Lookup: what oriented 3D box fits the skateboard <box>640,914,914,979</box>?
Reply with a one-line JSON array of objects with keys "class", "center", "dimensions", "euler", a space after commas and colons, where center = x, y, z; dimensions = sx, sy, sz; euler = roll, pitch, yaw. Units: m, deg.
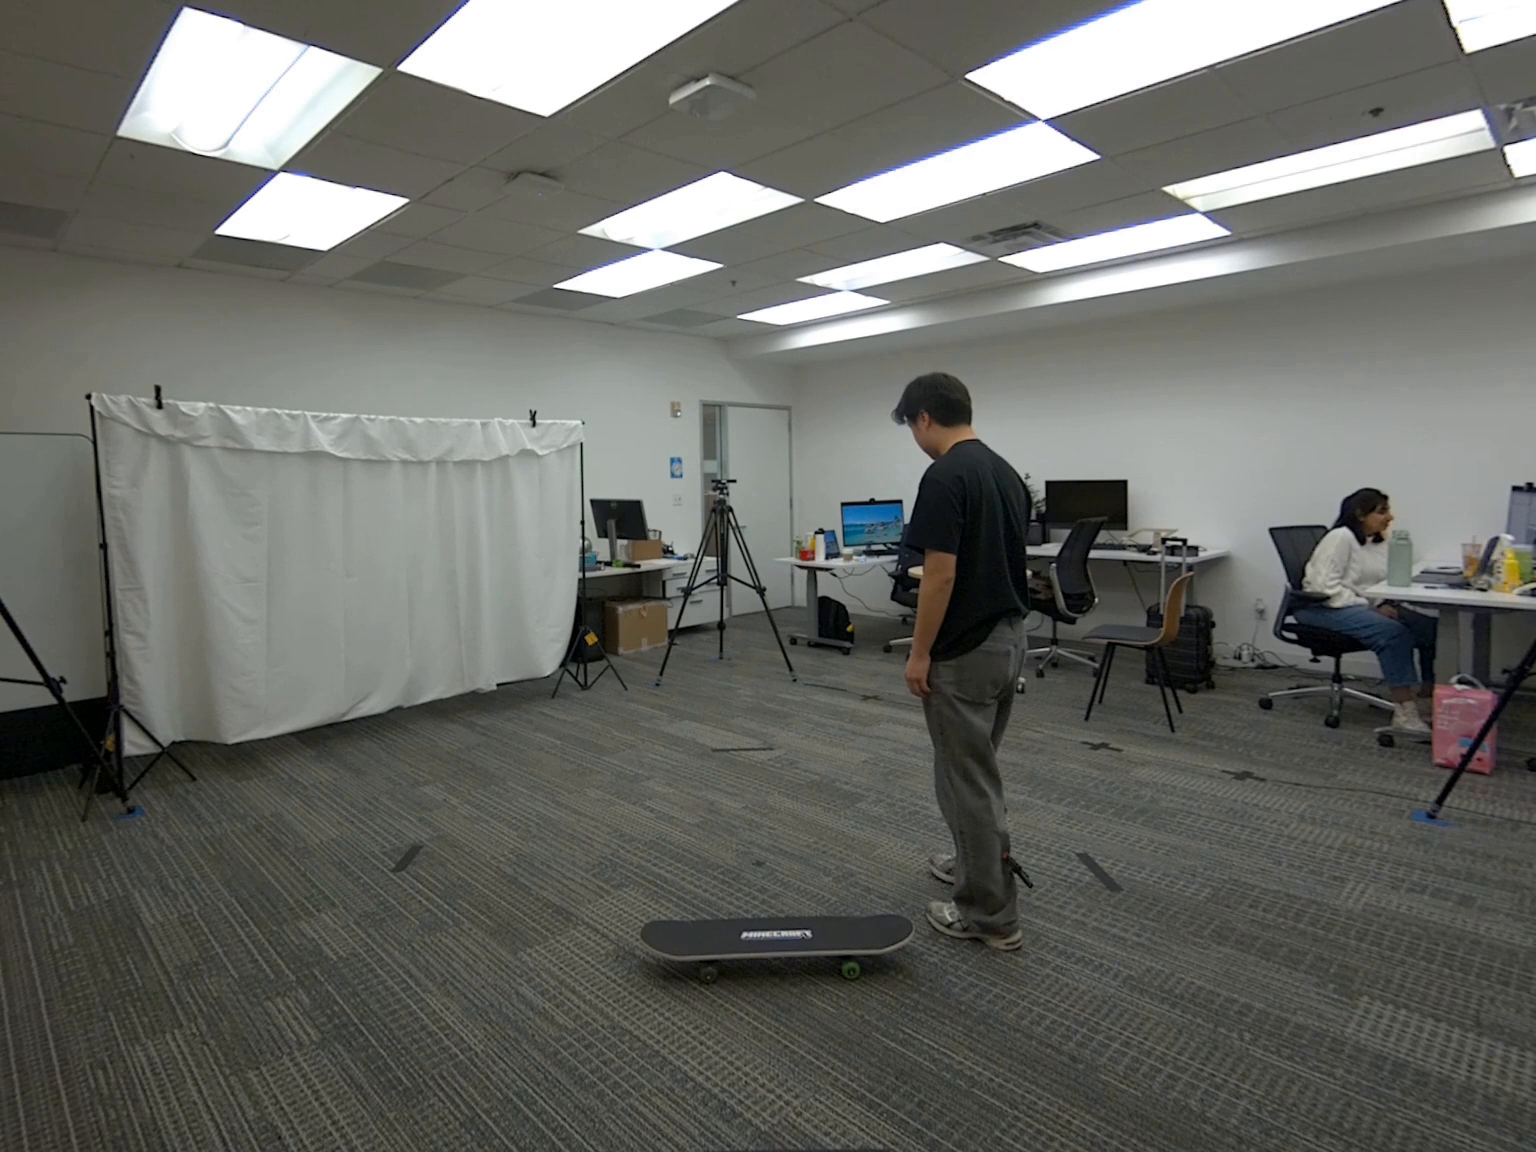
[{"class": "skateboard", "center": [0.025, 1.057, 2.460], "dimensions": [0.786, 0.110, 0.194], "euler": [-1, 6, 0]}]
